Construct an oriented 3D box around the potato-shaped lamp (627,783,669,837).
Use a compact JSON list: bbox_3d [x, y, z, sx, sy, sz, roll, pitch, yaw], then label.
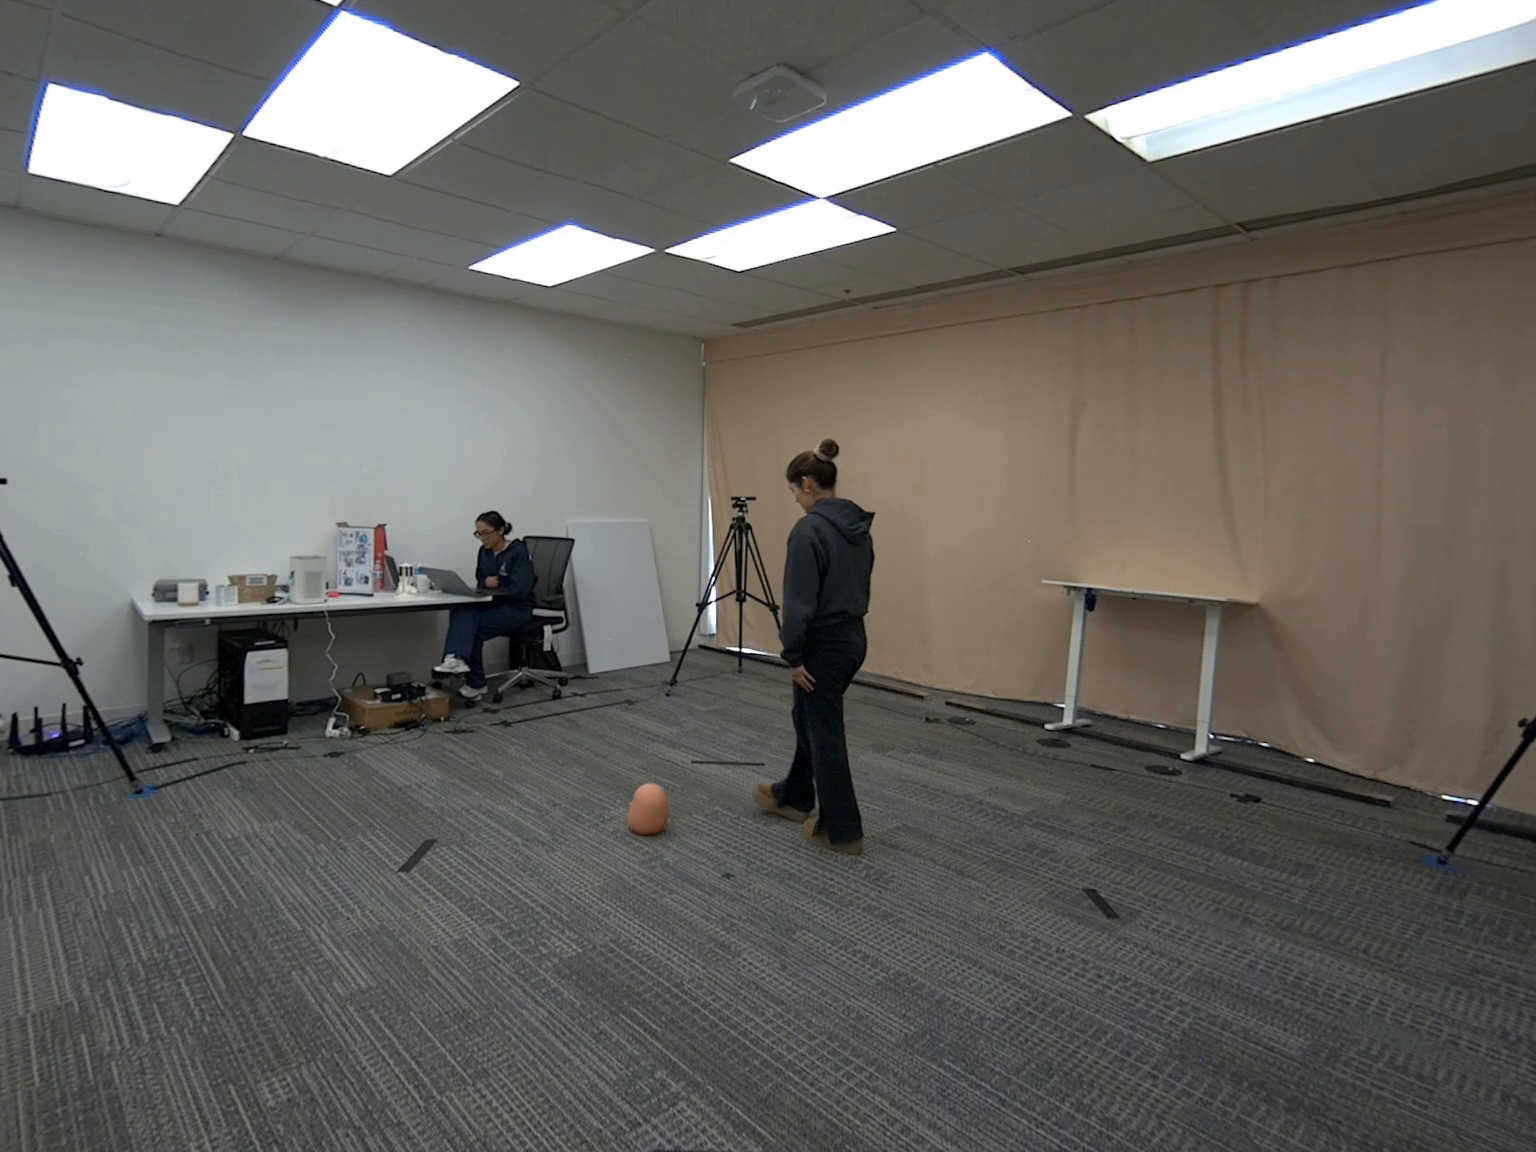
[{"bbox_3d":[-0.505,0.957,3.512,0.161,0.197,0.176,-1,5,-41],"label":"potato-shaped lamp"}]
